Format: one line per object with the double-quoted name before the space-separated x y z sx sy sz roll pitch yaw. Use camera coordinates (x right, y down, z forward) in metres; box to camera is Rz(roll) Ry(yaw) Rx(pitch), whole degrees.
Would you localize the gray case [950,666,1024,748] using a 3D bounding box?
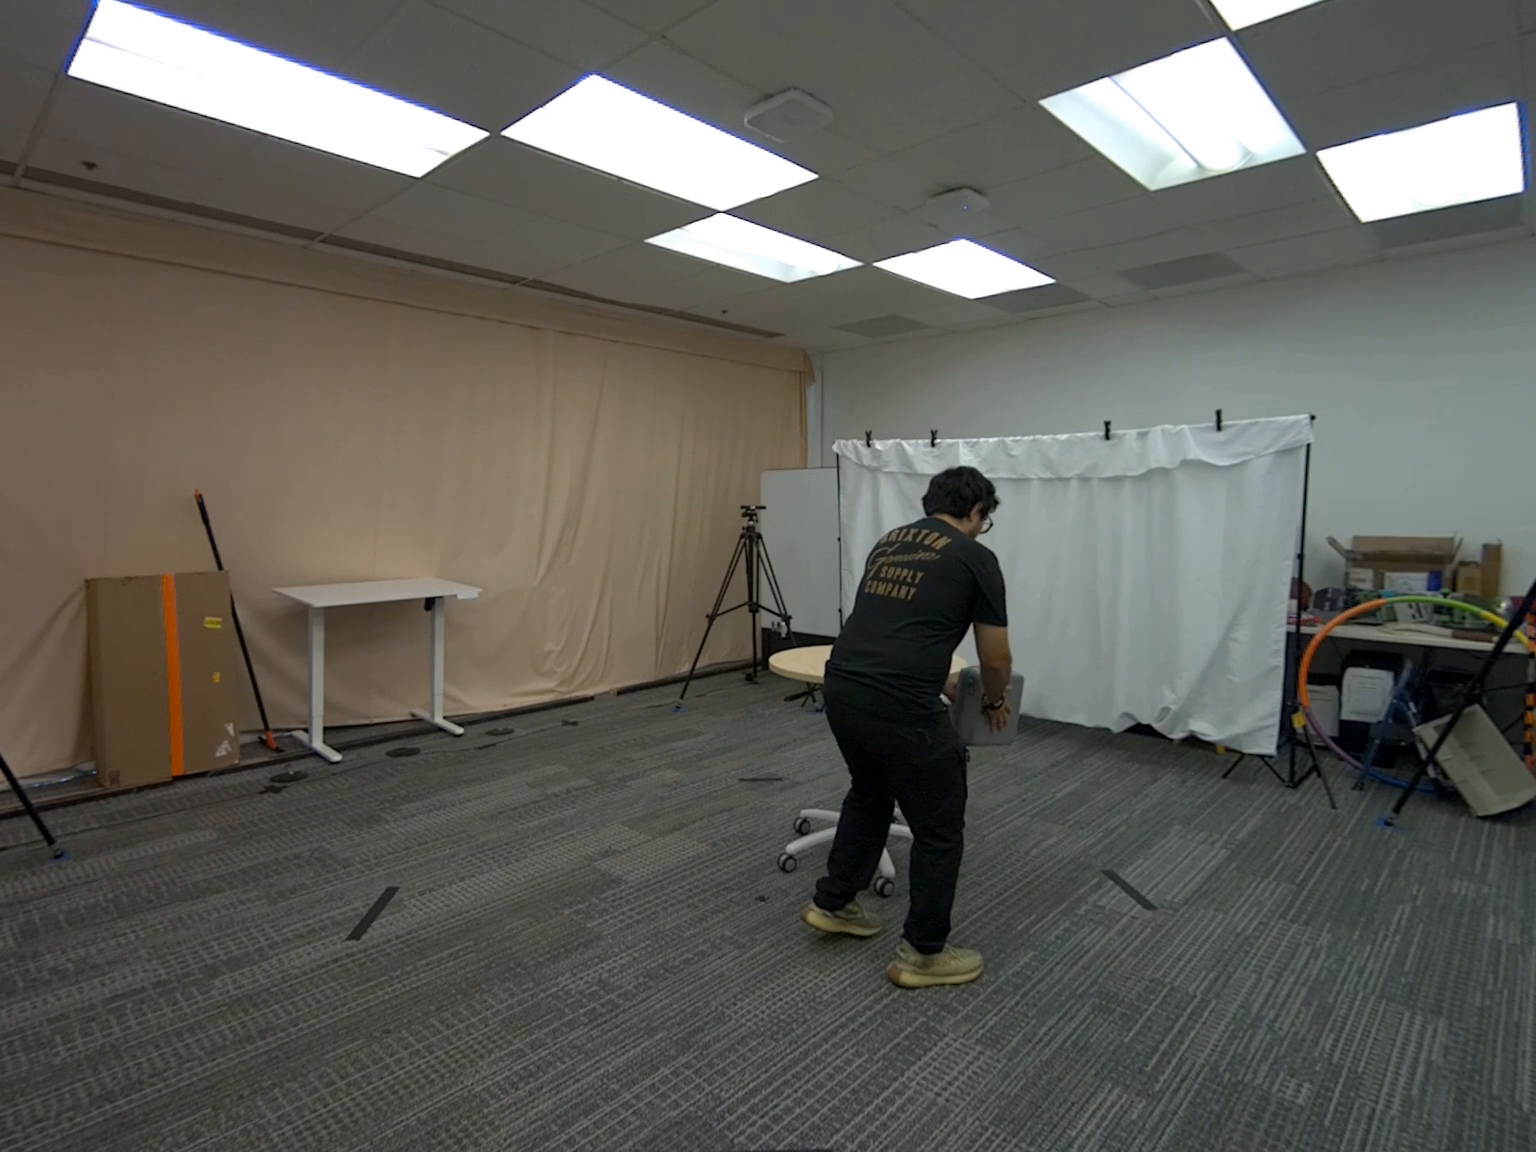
"gray case" 0.732 0.427 2.786 0.249 0.260 0.108 9 1 -36
